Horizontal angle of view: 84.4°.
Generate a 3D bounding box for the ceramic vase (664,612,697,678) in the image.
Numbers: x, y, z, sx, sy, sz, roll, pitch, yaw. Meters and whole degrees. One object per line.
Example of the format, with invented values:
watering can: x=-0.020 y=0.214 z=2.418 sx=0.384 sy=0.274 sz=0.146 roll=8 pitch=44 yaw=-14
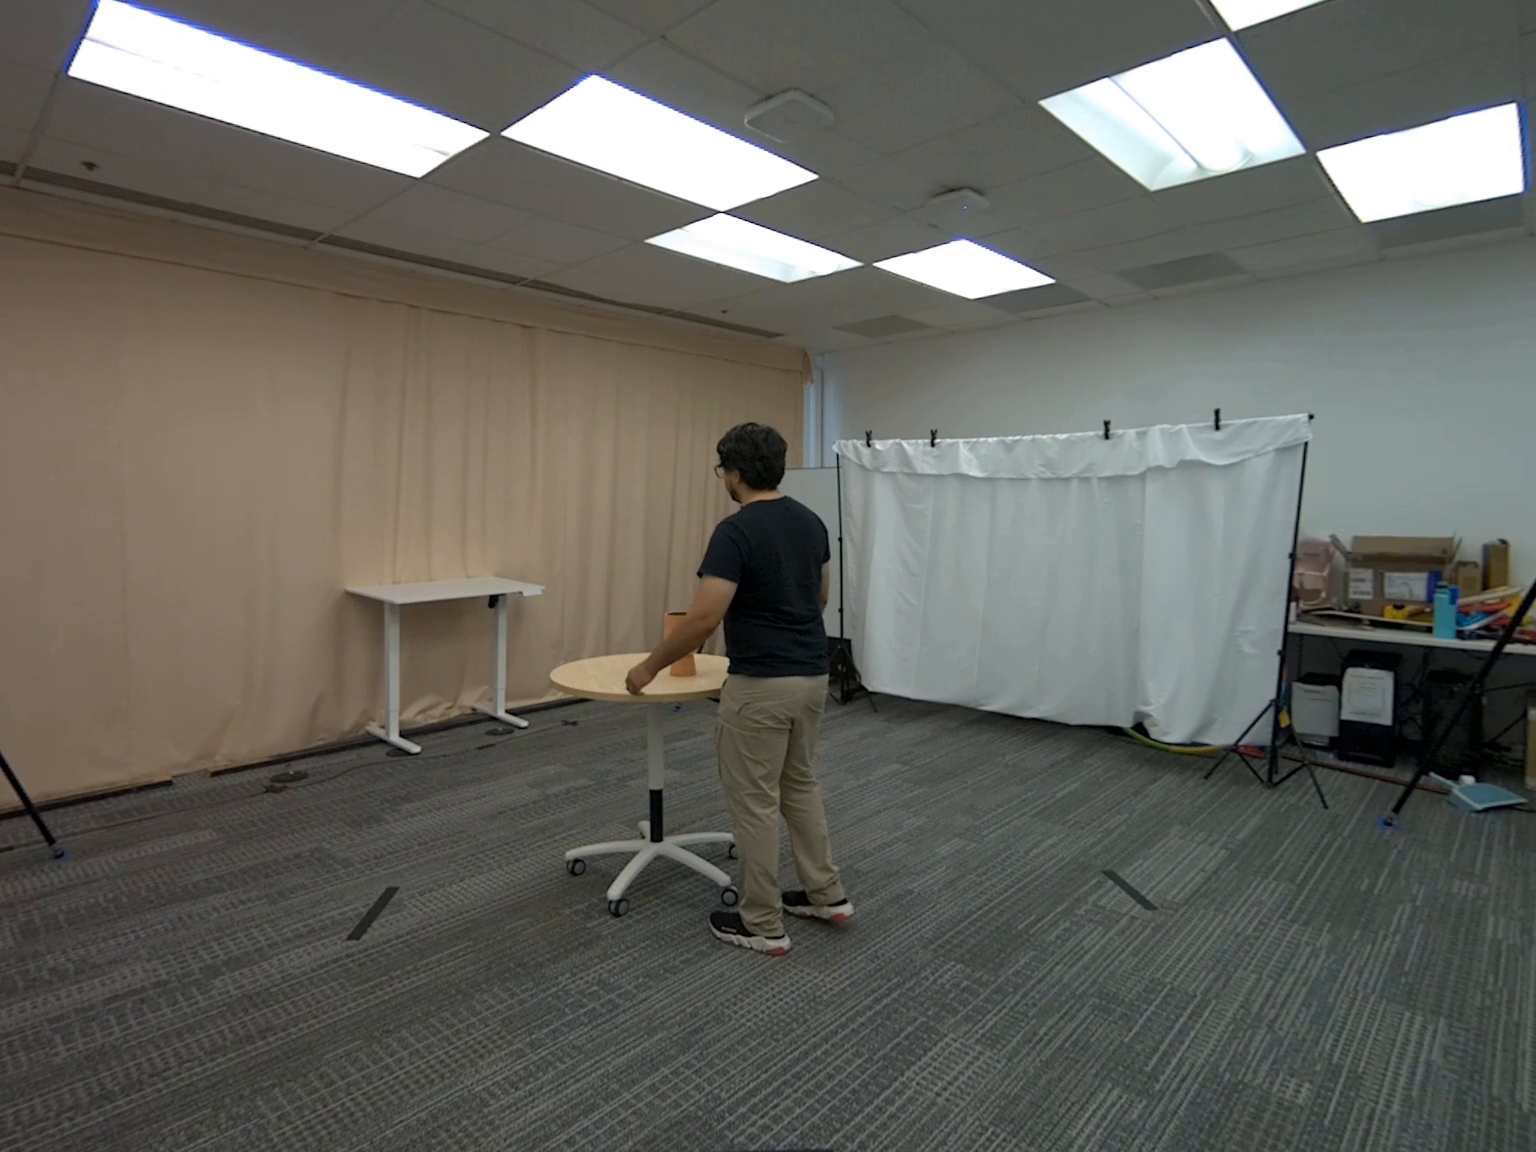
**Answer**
ceramic vase: x=-0.308 y=0.250 z=3.063 sx=0.137 sy=0.219 sz=0.156 roll=2 pitch=4 yaw=19
